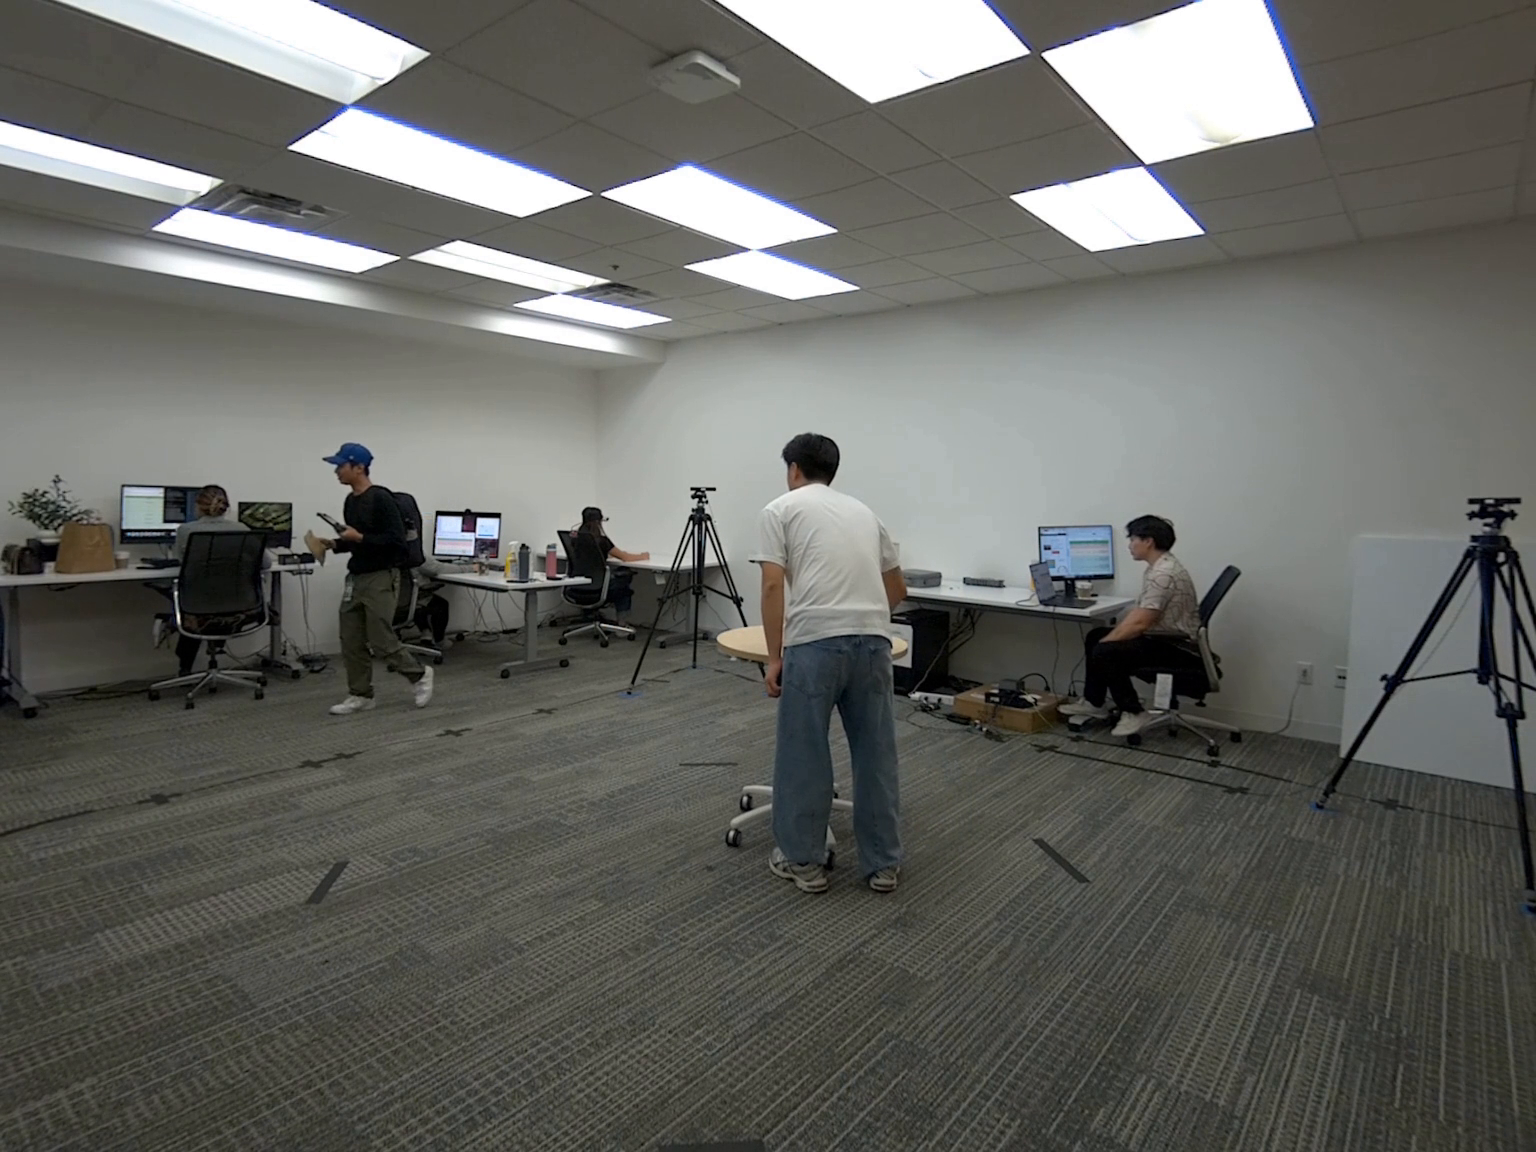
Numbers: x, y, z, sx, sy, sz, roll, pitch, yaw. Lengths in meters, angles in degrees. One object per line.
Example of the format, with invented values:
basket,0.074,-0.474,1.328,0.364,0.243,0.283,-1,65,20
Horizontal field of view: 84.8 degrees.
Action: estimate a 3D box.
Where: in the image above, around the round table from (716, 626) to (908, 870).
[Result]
round table,0.147,0.645,3.465,0.763,0.791,0.768,1,4,-2
